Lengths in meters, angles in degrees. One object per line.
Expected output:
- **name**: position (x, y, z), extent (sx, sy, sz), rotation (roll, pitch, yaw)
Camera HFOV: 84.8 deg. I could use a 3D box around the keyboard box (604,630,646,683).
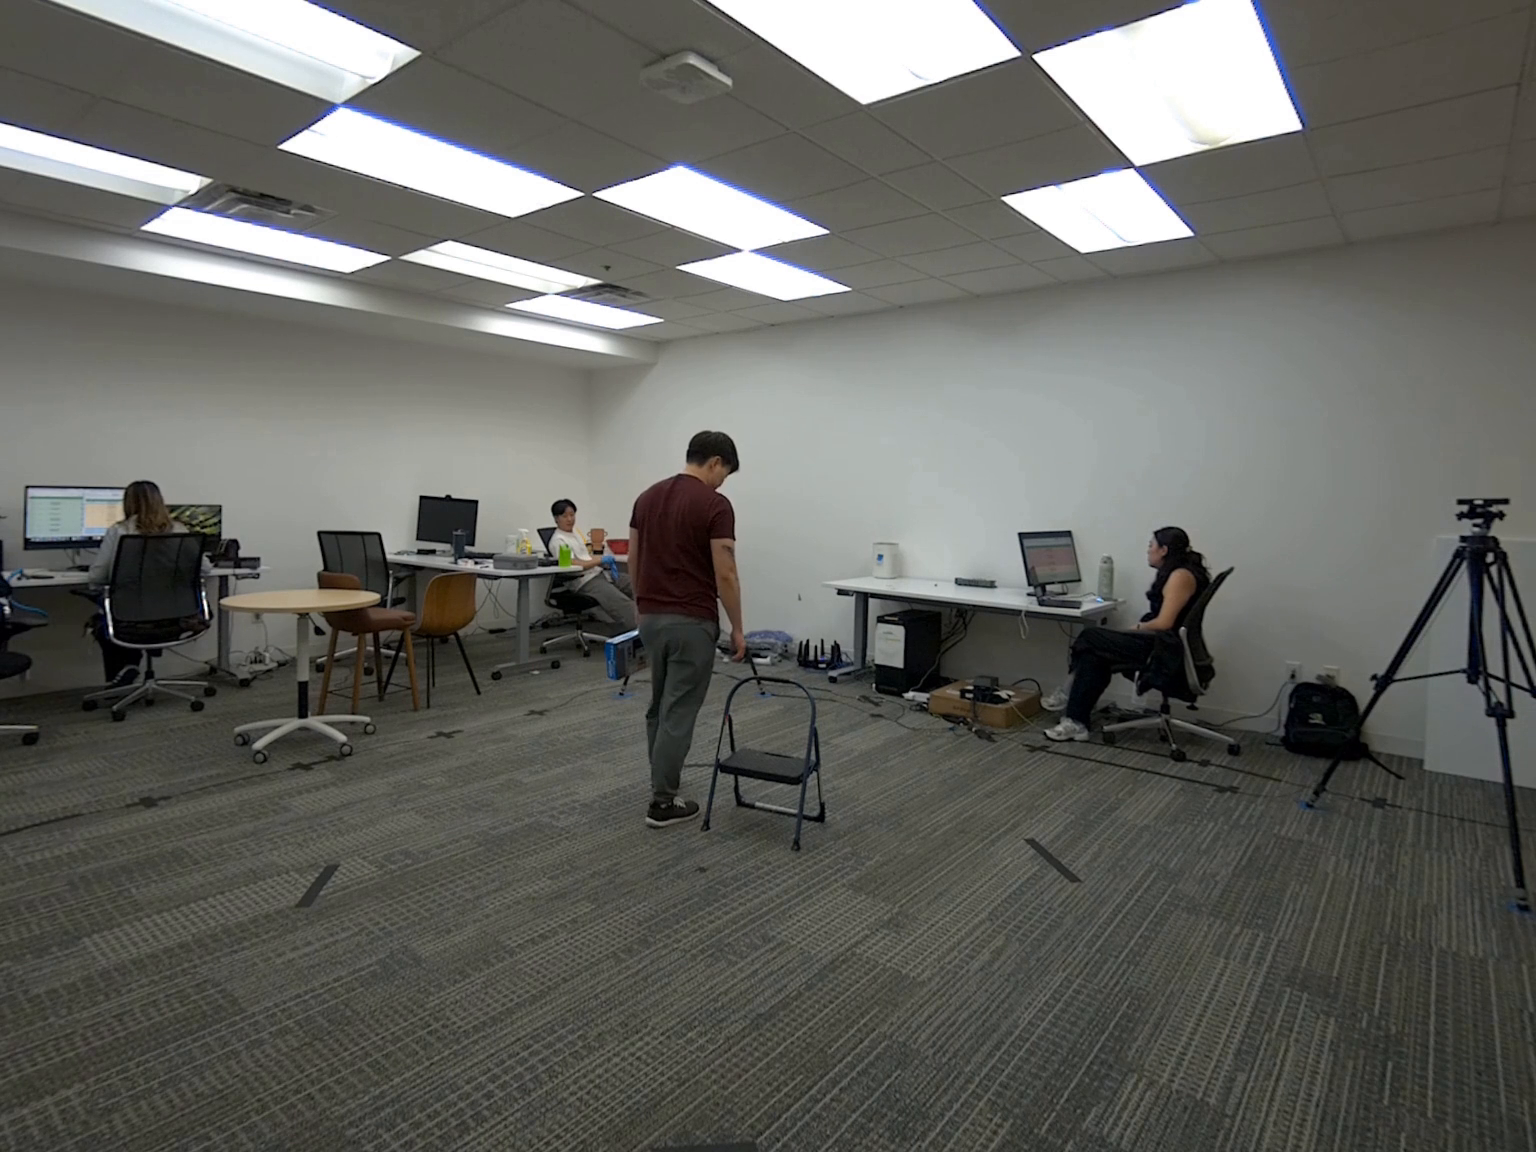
- **keyboard box**: position (-0.560, 0.321, 3.826), extent (0.061, 0.173, 0.427), rotation (9, 18, 37)
